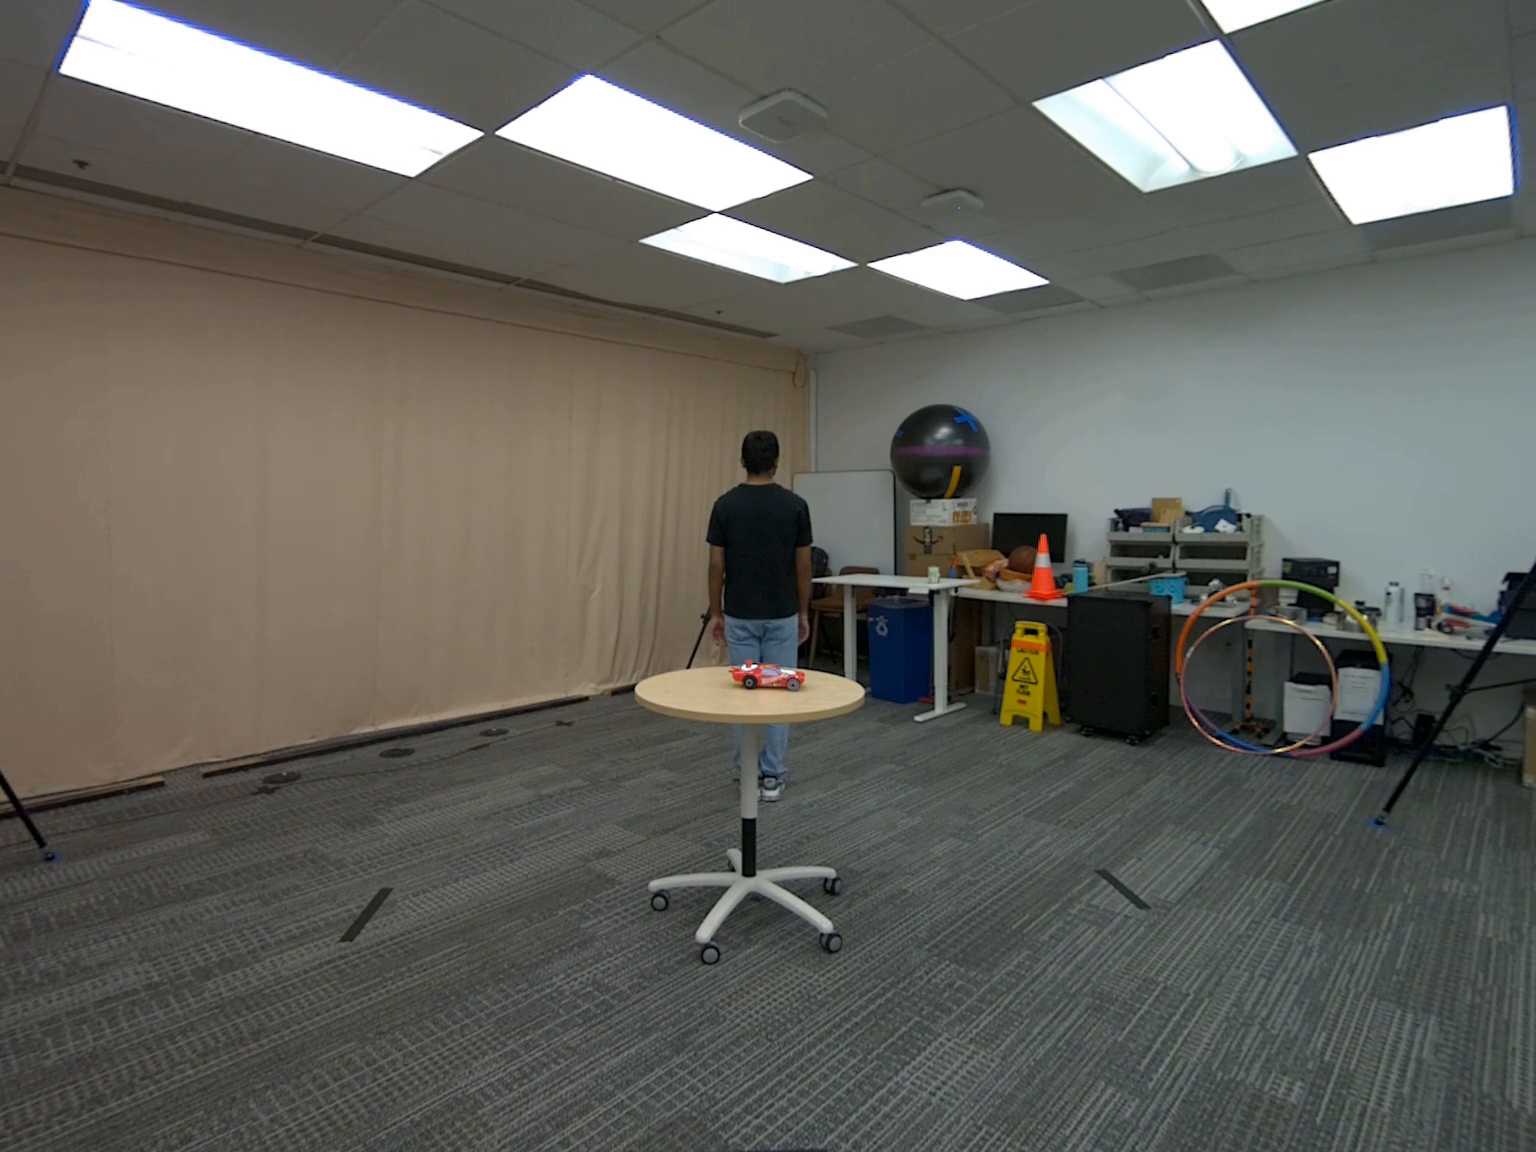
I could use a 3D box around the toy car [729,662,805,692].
[{"bbox_3d":[-0.007,0.340,2.840,0.257,0.083,0.129,12,6,8],"label":"toy car"}]
